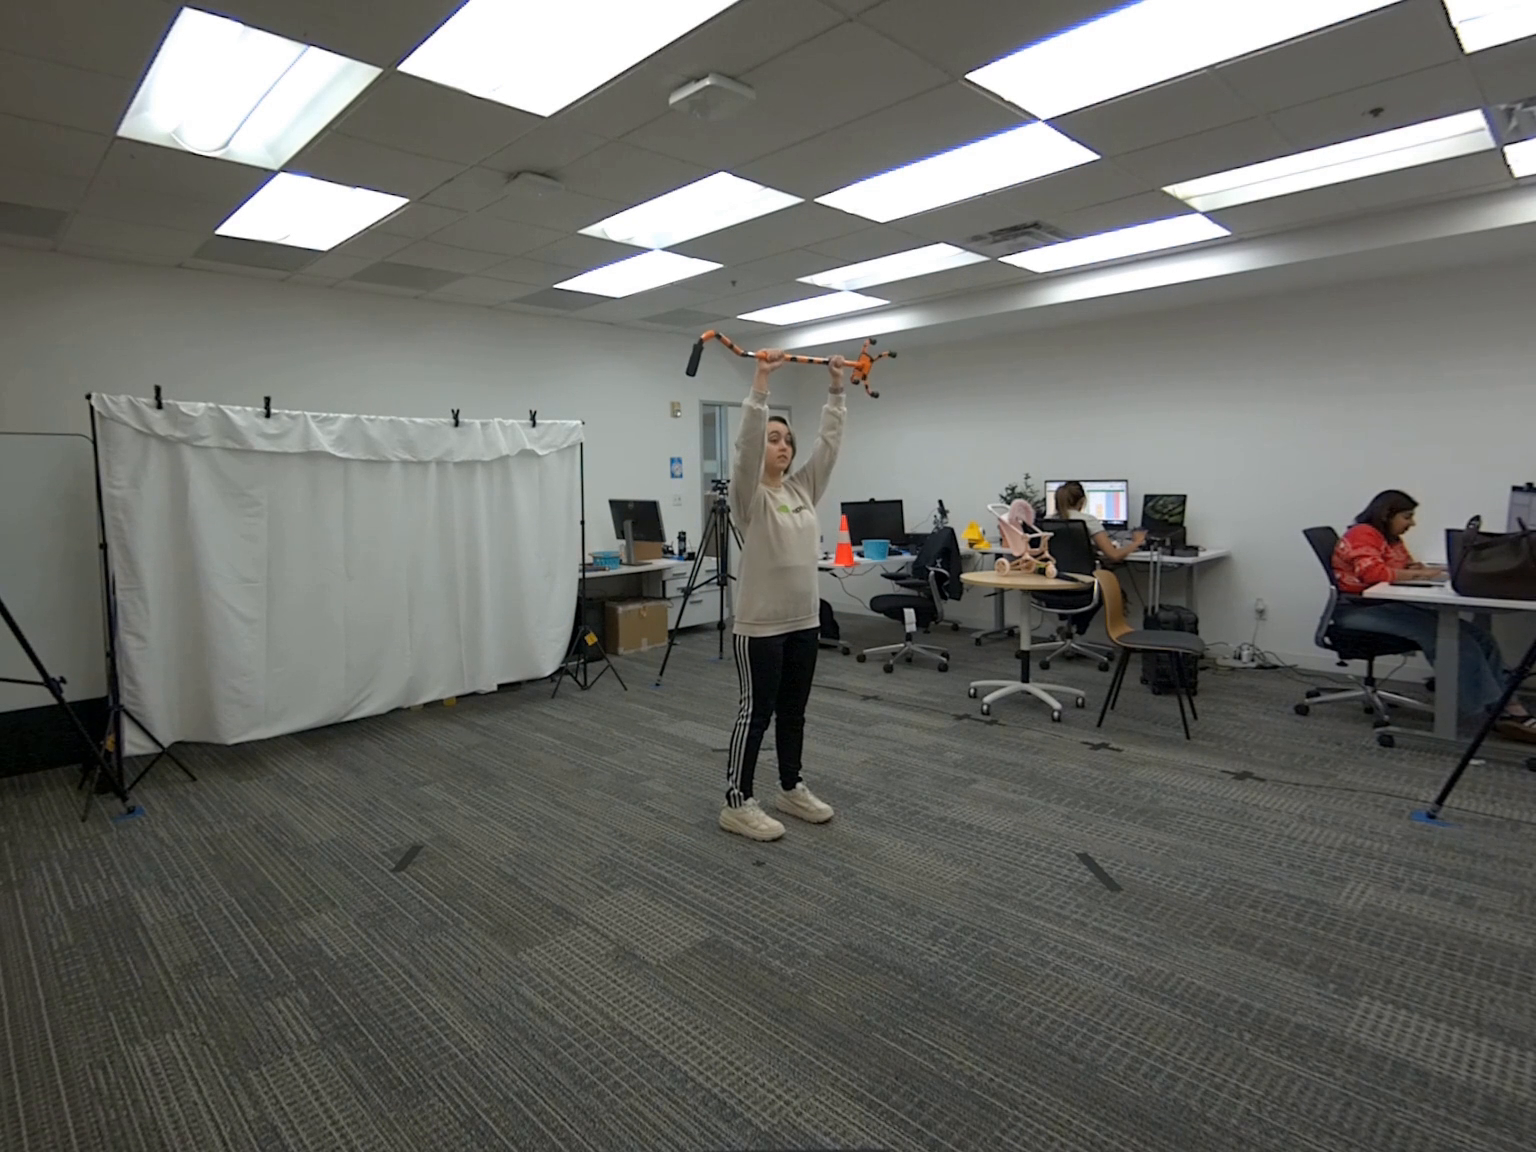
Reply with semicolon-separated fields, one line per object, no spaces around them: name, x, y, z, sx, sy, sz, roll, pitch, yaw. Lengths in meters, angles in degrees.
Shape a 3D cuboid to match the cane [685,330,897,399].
cane;0.099;-0.800;3.158;0.885;0.204;0.157;-7;37;-39
